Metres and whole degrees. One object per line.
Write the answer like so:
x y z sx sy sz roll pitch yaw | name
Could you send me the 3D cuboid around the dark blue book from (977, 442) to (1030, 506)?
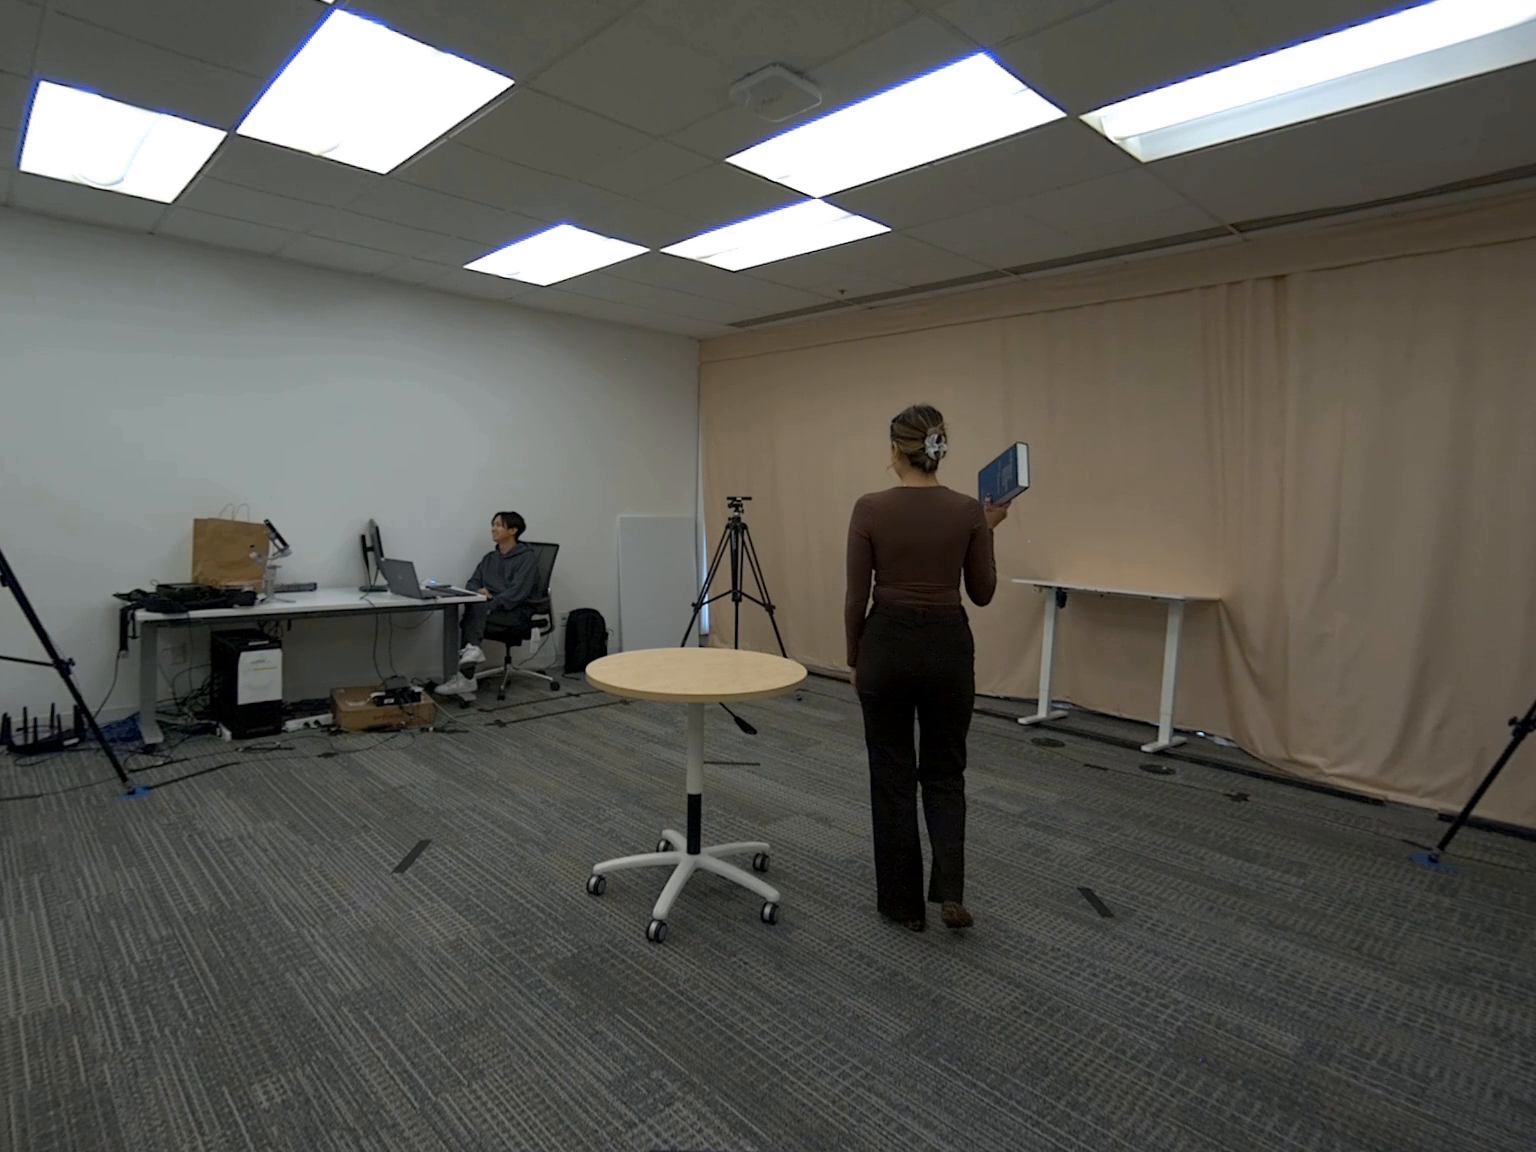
0.791 -0.327 2.845 0.045 0.165 0.244 10 -21 -11 | dark blue book
